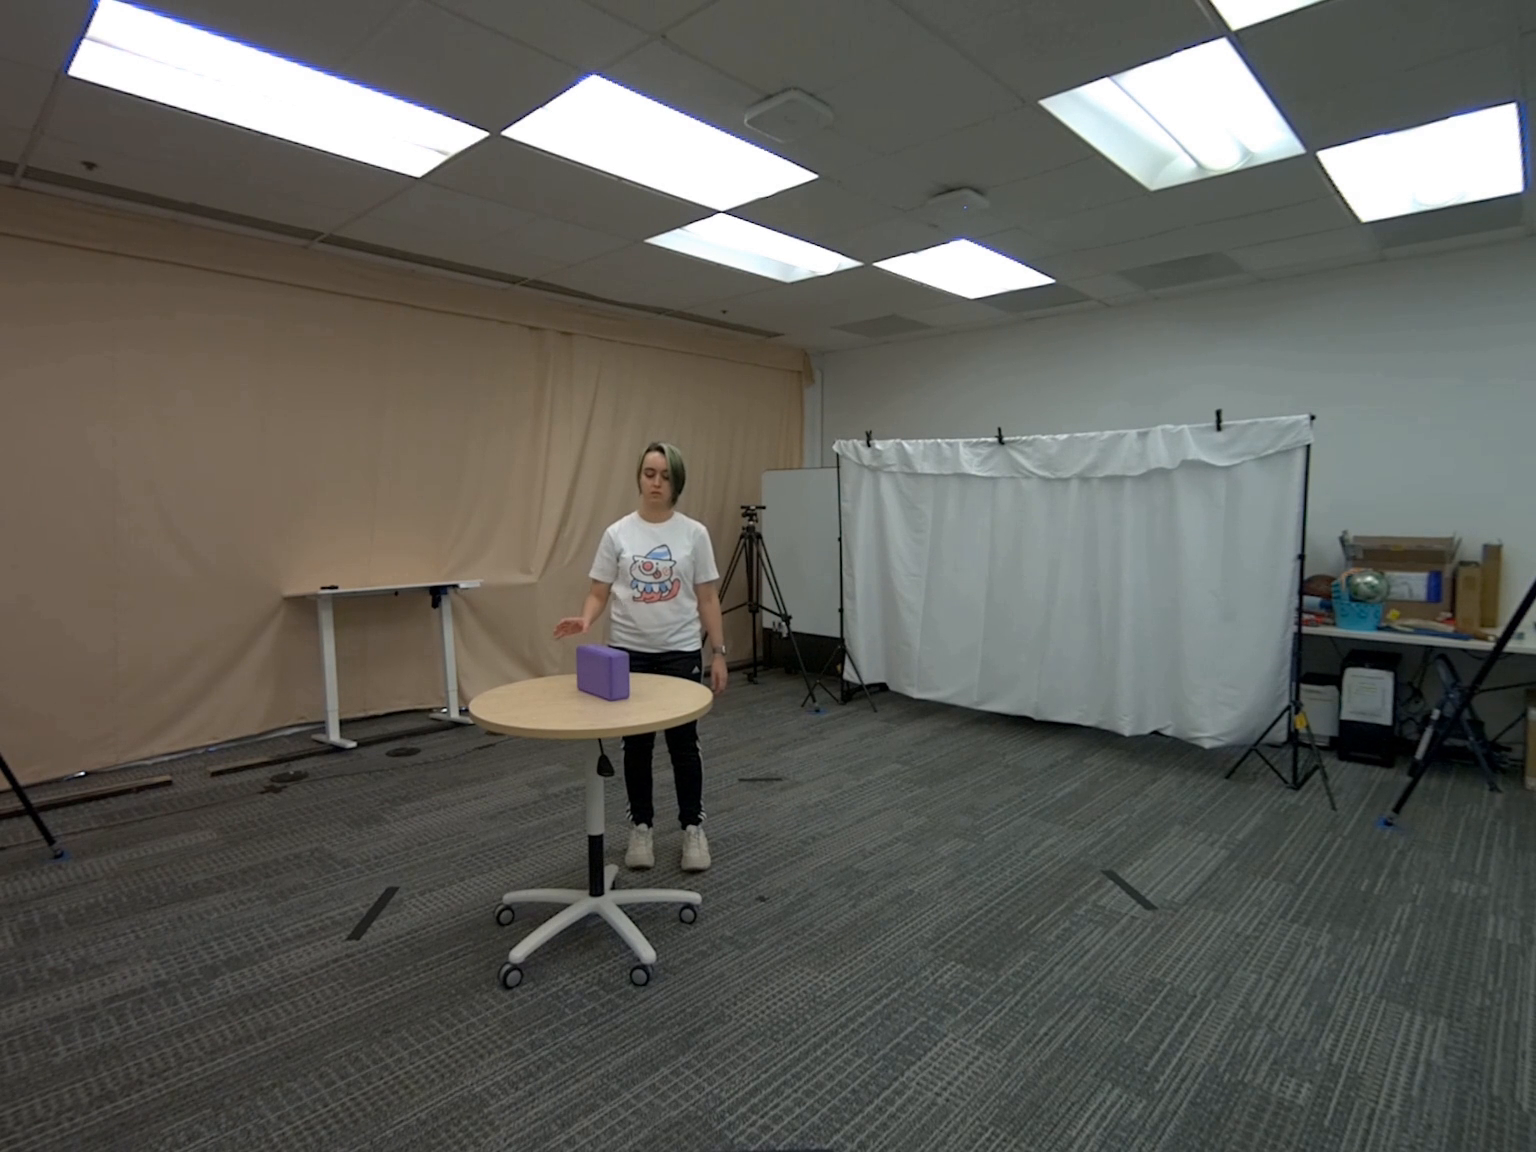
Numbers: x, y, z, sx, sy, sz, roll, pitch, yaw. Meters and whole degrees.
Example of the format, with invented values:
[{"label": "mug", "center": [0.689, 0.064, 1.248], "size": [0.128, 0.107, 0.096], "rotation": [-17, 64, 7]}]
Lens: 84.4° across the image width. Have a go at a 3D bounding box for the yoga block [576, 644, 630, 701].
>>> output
[{"label": "yoga block", "center": [-0.542, 0.307, 2.730], "size": [0.074, 0.148, 0.237], "rotation": [-4, 6, -39]}]
